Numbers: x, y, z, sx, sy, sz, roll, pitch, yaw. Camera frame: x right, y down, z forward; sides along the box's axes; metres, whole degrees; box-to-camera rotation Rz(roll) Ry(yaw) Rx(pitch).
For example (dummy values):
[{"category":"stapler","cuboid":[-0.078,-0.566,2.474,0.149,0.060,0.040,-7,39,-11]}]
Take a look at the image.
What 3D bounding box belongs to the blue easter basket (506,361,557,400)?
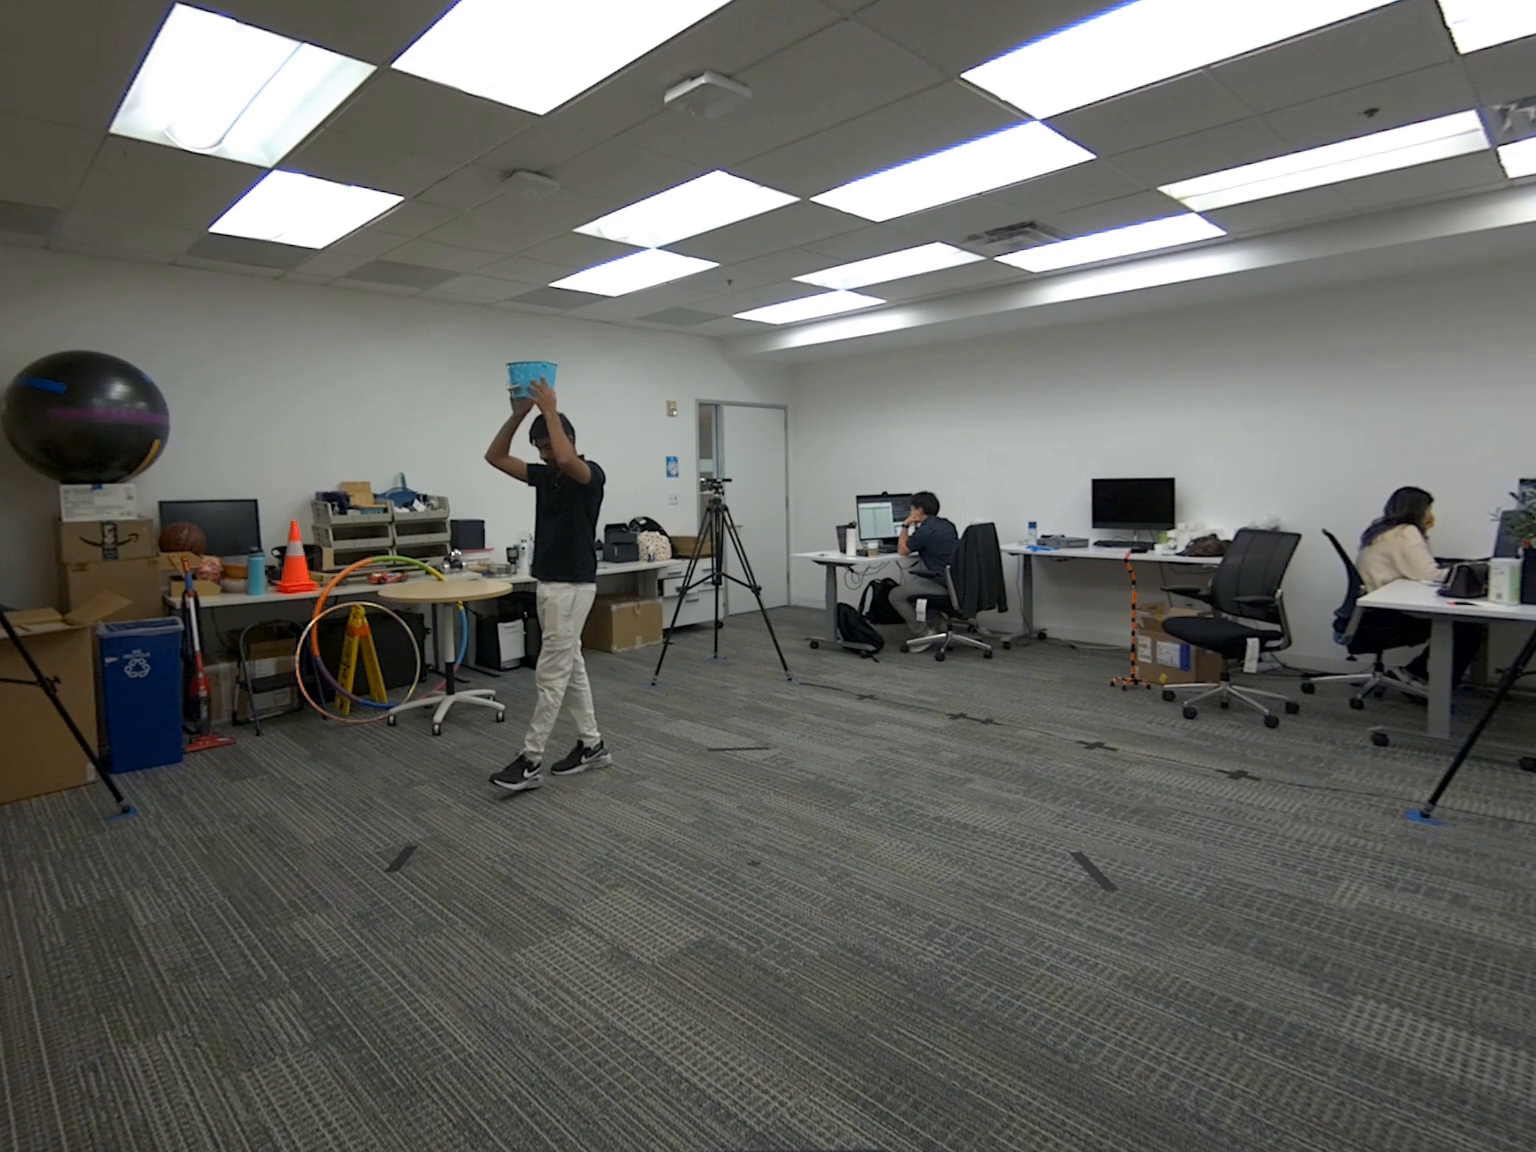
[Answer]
[{"category":"blue easter basket","cuboid":[-1.082,-0.894,3.909,0.243,0.155,0.244,-2,4,-2]}]
